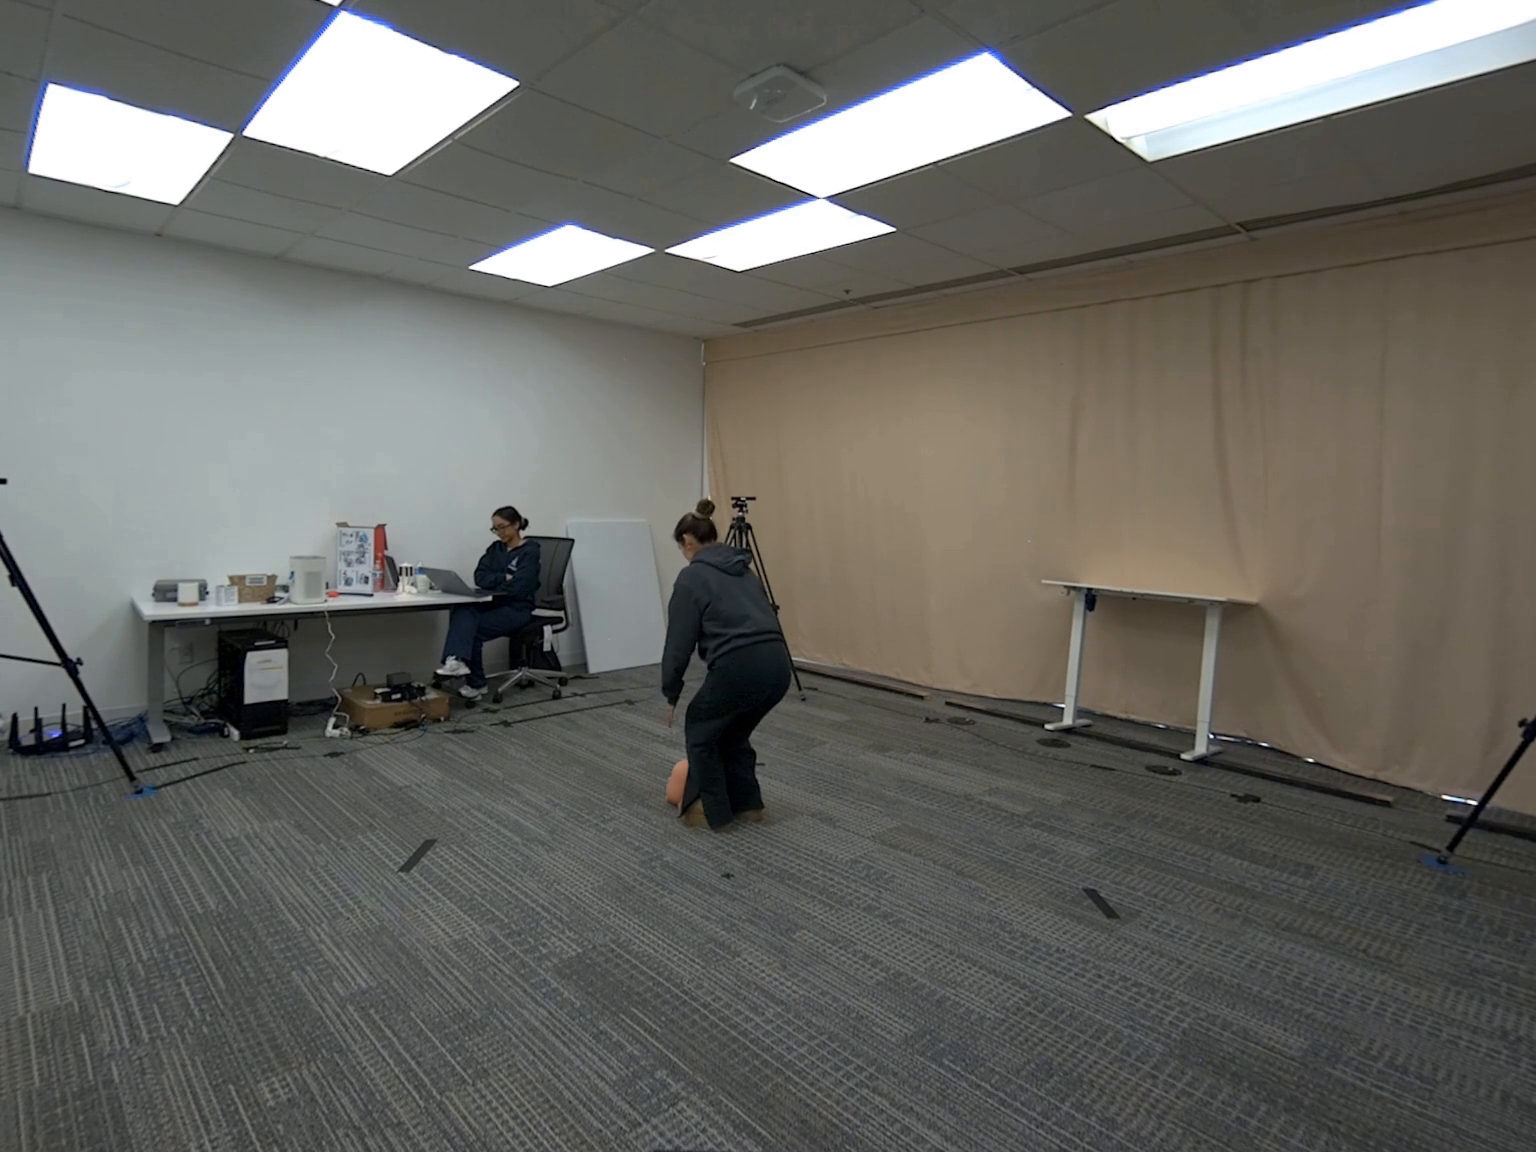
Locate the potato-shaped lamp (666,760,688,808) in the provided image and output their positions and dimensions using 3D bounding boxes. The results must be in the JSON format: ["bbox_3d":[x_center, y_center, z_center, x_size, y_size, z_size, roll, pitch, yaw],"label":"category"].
[{"bbox_3d":[-0.388,0.930,3.858,0.176,0.197,0.161,7,7,42],"label":"potato-shaped lamp"}]
